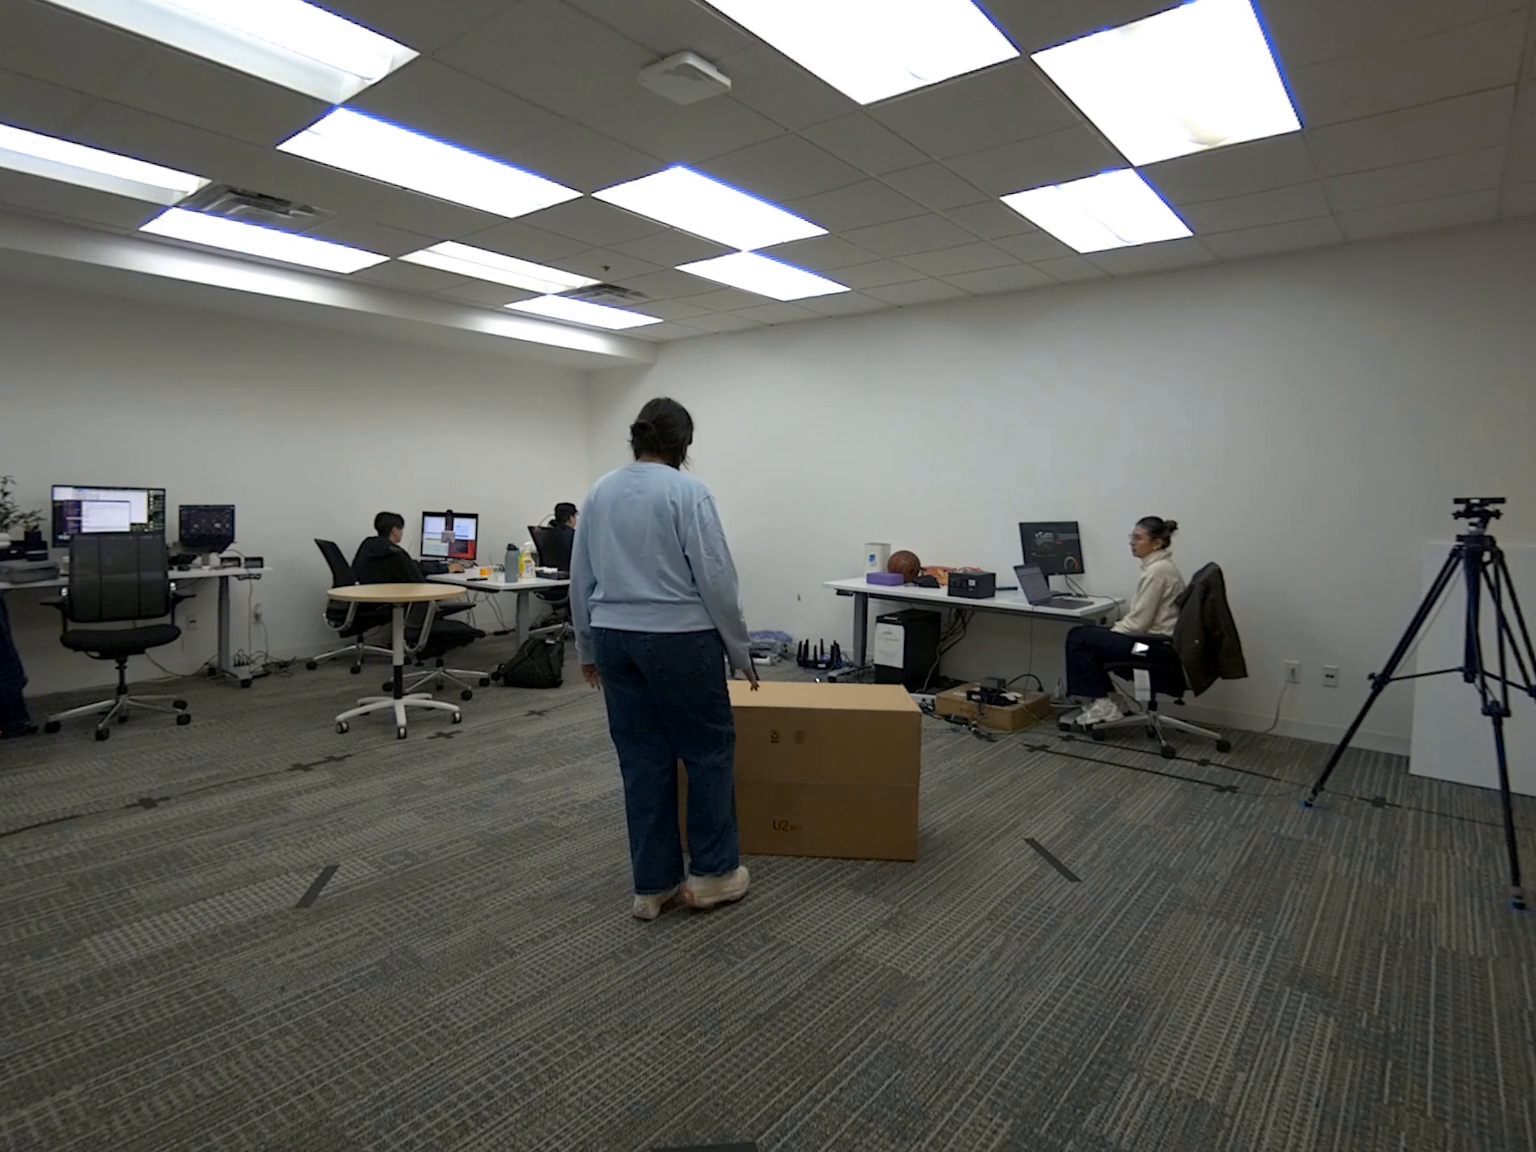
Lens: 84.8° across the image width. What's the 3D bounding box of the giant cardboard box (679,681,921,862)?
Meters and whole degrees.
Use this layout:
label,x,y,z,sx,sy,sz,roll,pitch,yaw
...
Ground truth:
label,x,y,z,sx,sy,sz,roll,pitch,yaw
giant cardboard box,0.058,0.751,3.431,1.030,0.576,0.426,1,3,3
